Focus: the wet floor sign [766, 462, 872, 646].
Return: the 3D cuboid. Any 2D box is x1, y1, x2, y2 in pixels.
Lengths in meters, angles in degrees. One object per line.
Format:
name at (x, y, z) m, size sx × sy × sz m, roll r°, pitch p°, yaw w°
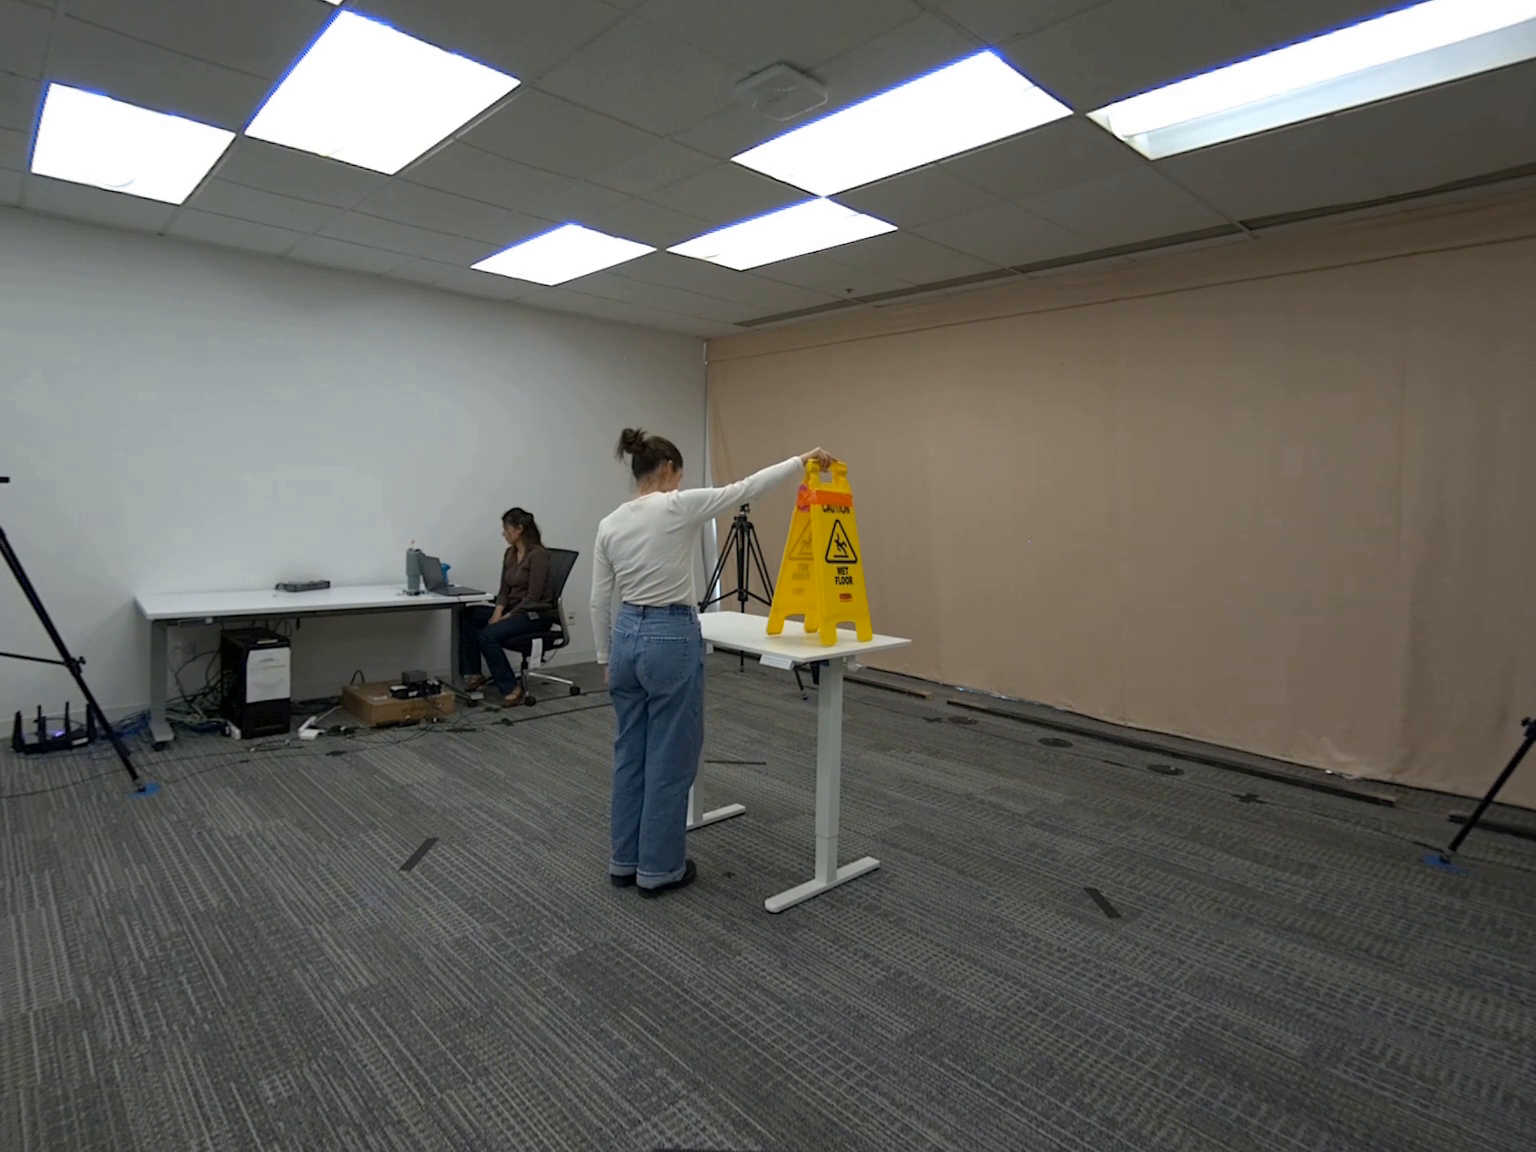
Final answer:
wet floor sign at (0.198, -0.096, 3.058) m, size 0.275 × 0.645 × 0.297 m, roll 1°, pitch 3°, yaw -44°
